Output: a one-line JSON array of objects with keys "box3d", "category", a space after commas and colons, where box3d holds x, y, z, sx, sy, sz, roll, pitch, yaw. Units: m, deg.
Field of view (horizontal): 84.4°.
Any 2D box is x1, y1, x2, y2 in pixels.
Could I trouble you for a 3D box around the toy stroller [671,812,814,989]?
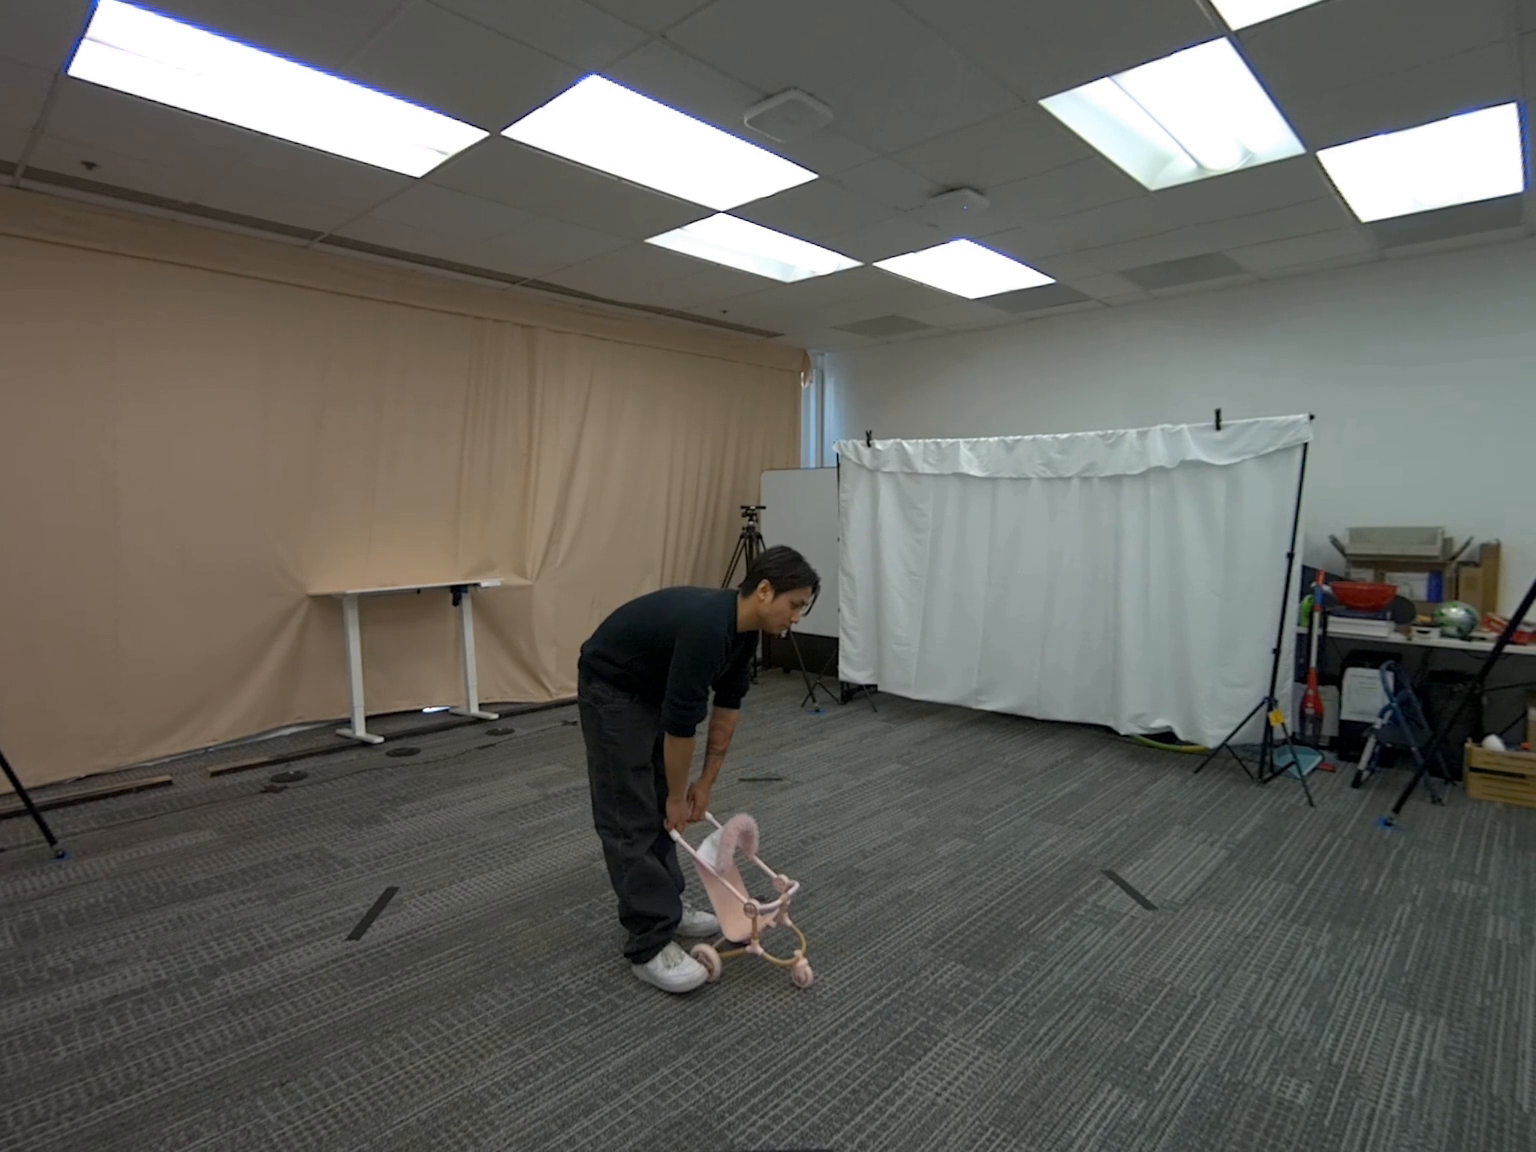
[{"box3d": [-0.059, 0.963, 2.512, 0.349, 0.538, 0.273, -19, -7, 34], "category": "toy stroller"}]
